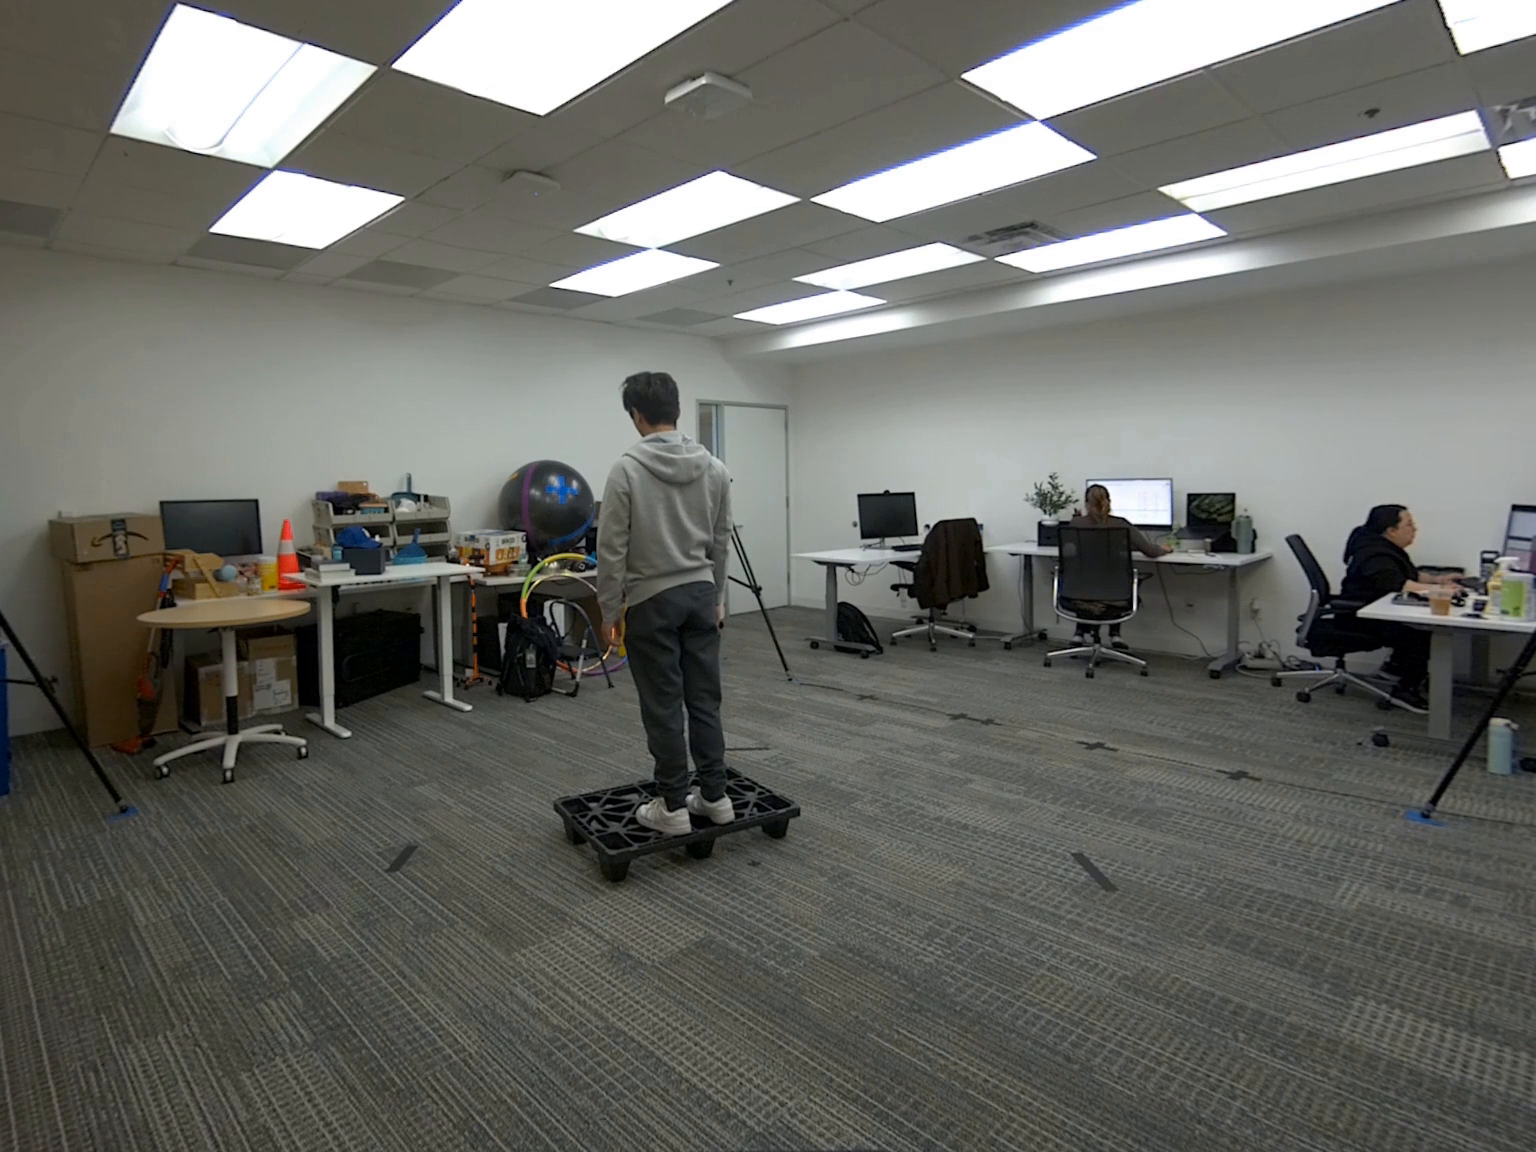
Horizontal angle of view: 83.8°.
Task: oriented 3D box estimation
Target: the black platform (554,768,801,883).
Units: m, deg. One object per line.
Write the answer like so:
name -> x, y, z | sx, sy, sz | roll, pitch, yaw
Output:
black platform -> -0.355, 0.957, 3.349 | 0.787, 0.142, 0.623 | -5, 8, -31
